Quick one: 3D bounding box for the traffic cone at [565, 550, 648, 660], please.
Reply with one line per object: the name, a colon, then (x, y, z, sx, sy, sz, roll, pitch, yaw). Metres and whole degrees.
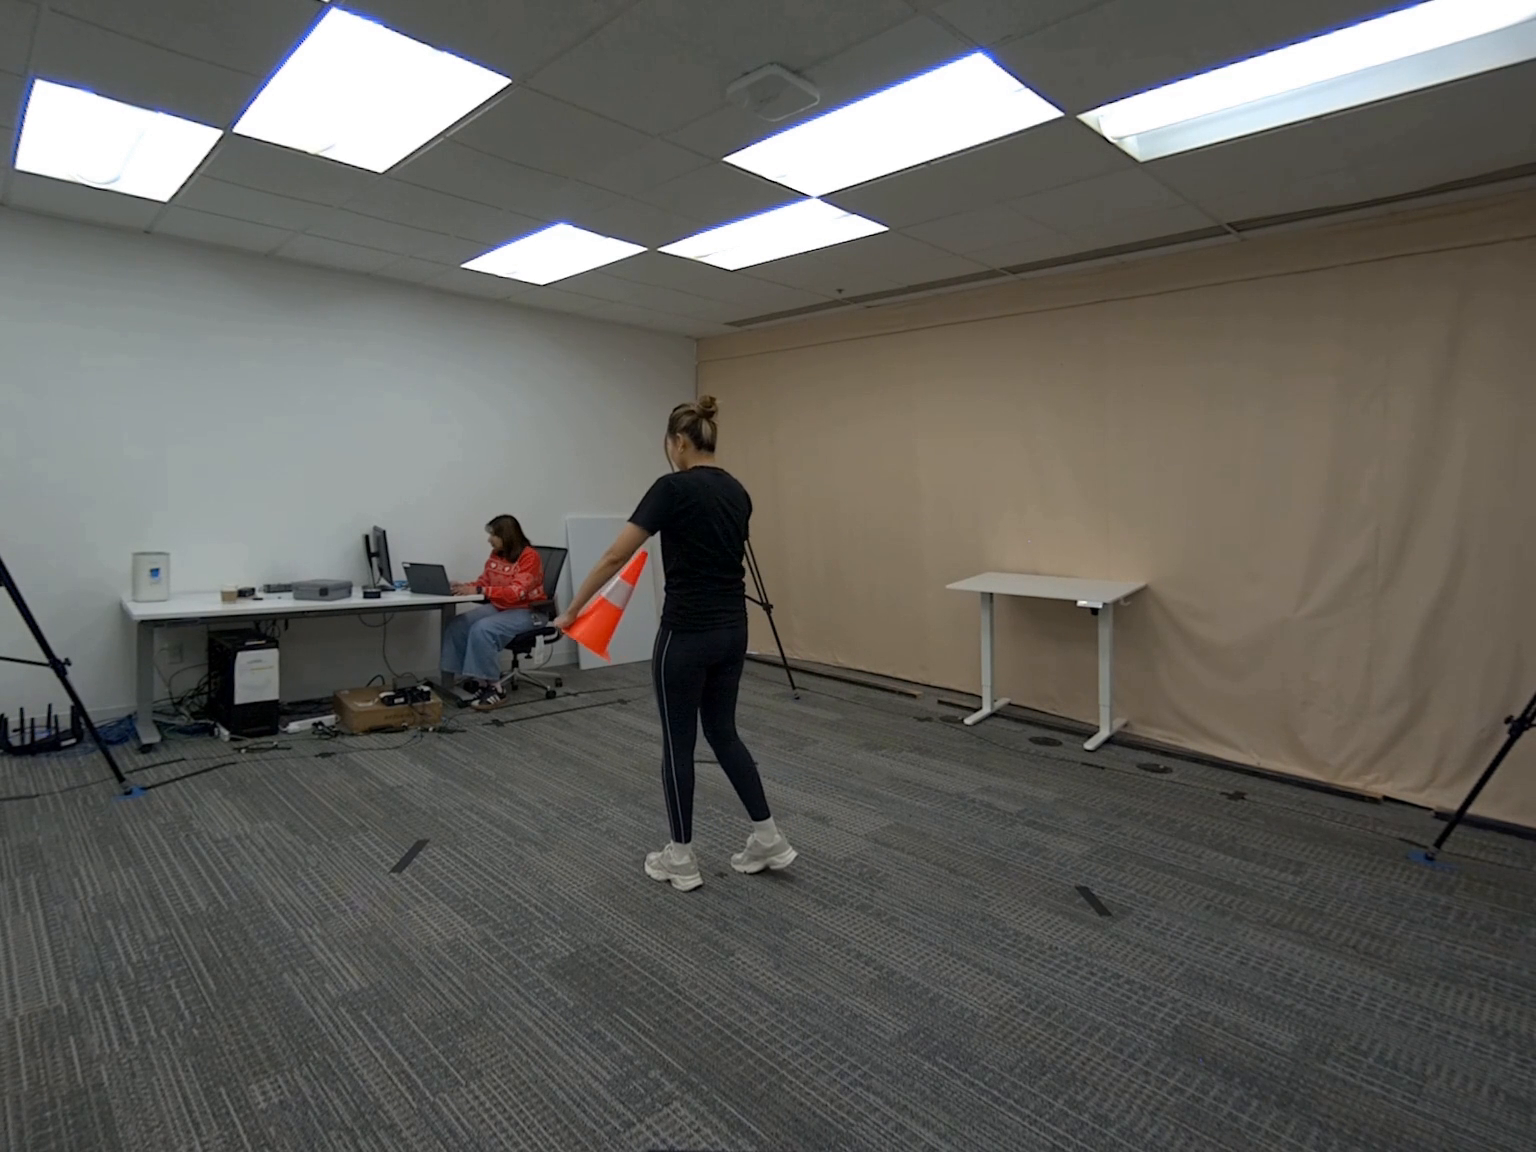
traffic cone: (-0.535, 0.070, 2.967, 0.201, 0.384, 0.207, 33, 0, -20)
